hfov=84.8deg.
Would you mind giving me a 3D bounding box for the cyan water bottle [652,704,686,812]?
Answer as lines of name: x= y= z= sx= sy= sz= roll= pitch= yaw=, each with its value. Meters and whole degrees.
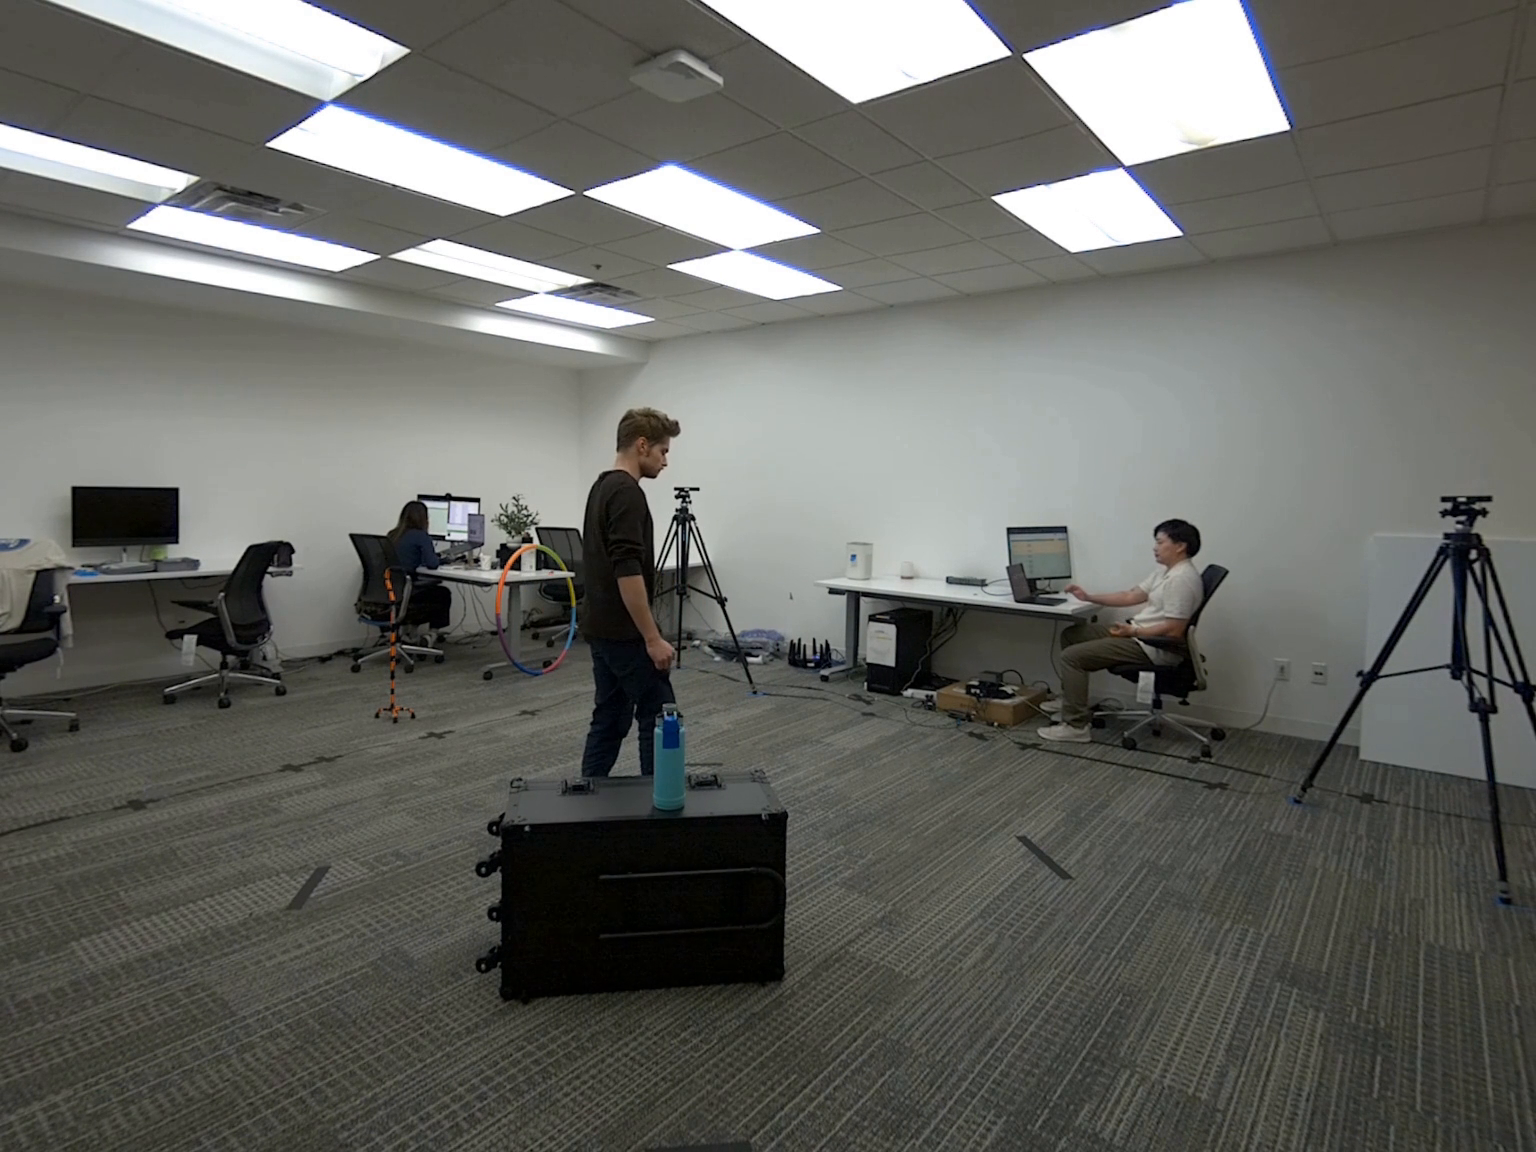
cyan water bottle: x=-0.289 y=0.511 z=2.421 sx=0.092 sy=0.282 sz=0.093 roll=1 pitch=5 yaw=-2
